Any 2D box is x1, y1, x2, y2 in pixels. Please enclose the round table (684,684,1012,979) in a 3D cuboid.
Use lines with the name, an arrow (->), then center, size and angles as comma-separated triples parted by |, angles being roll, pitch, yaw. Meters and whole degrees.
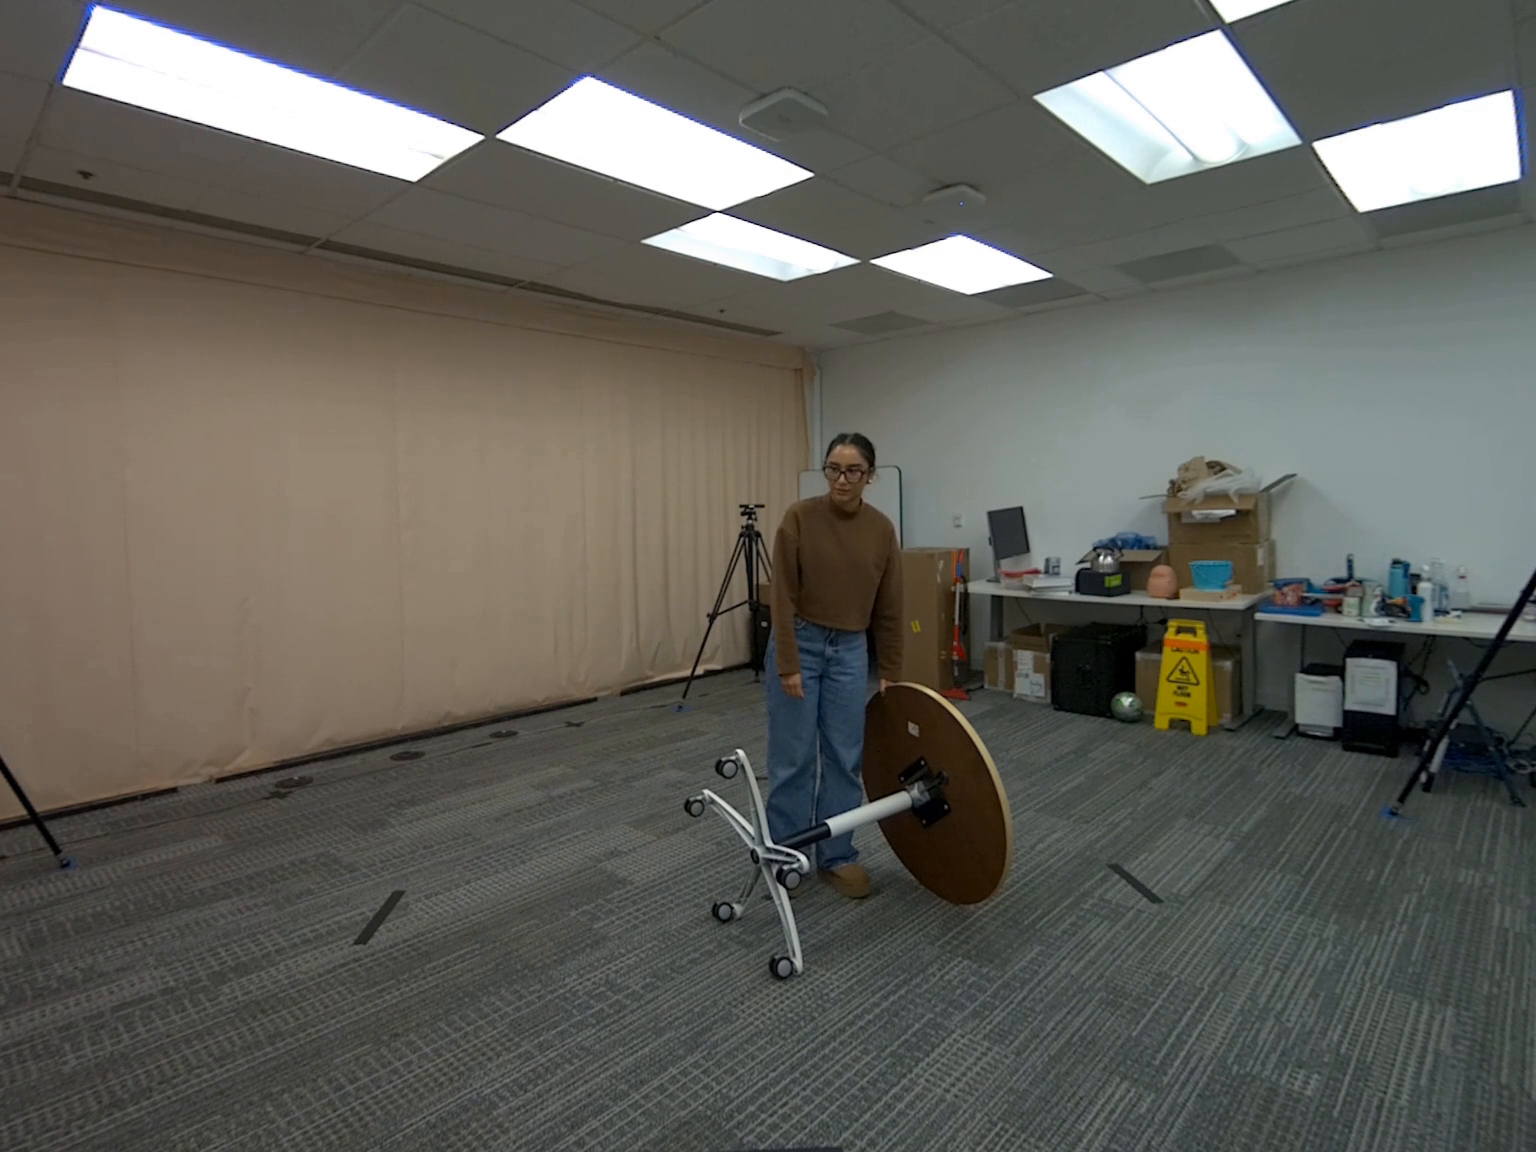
round table -> 0.233, 0.821, 2.773 | 0.776, 0.760, 0.785 | -11, 8, -27
